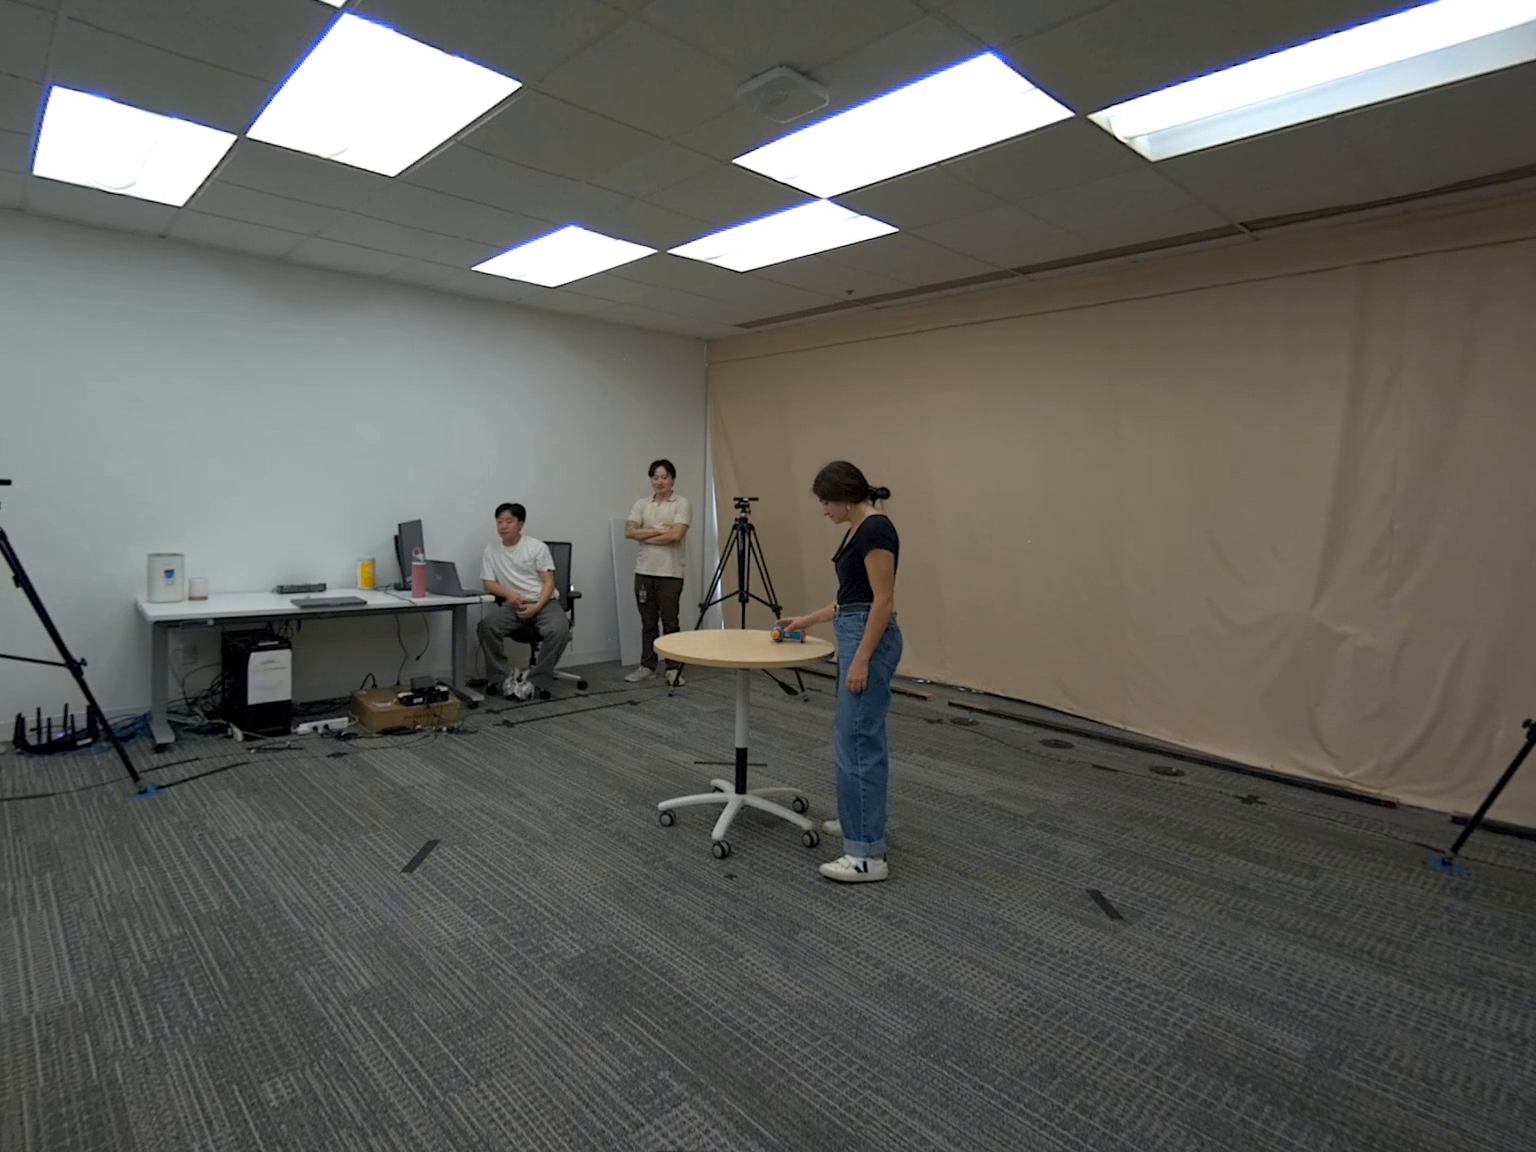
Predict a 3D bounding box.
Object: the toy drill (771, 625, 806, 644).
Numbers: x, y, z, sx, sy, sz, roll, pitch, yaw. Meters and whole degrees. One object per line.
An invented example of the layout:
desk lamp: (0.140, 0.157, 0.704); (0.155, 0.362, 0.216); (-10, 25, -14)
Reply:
toy drill: (0.073, 0.257, 3.622); (0.148, 0.061, 0.167); (5, -2, 12)
